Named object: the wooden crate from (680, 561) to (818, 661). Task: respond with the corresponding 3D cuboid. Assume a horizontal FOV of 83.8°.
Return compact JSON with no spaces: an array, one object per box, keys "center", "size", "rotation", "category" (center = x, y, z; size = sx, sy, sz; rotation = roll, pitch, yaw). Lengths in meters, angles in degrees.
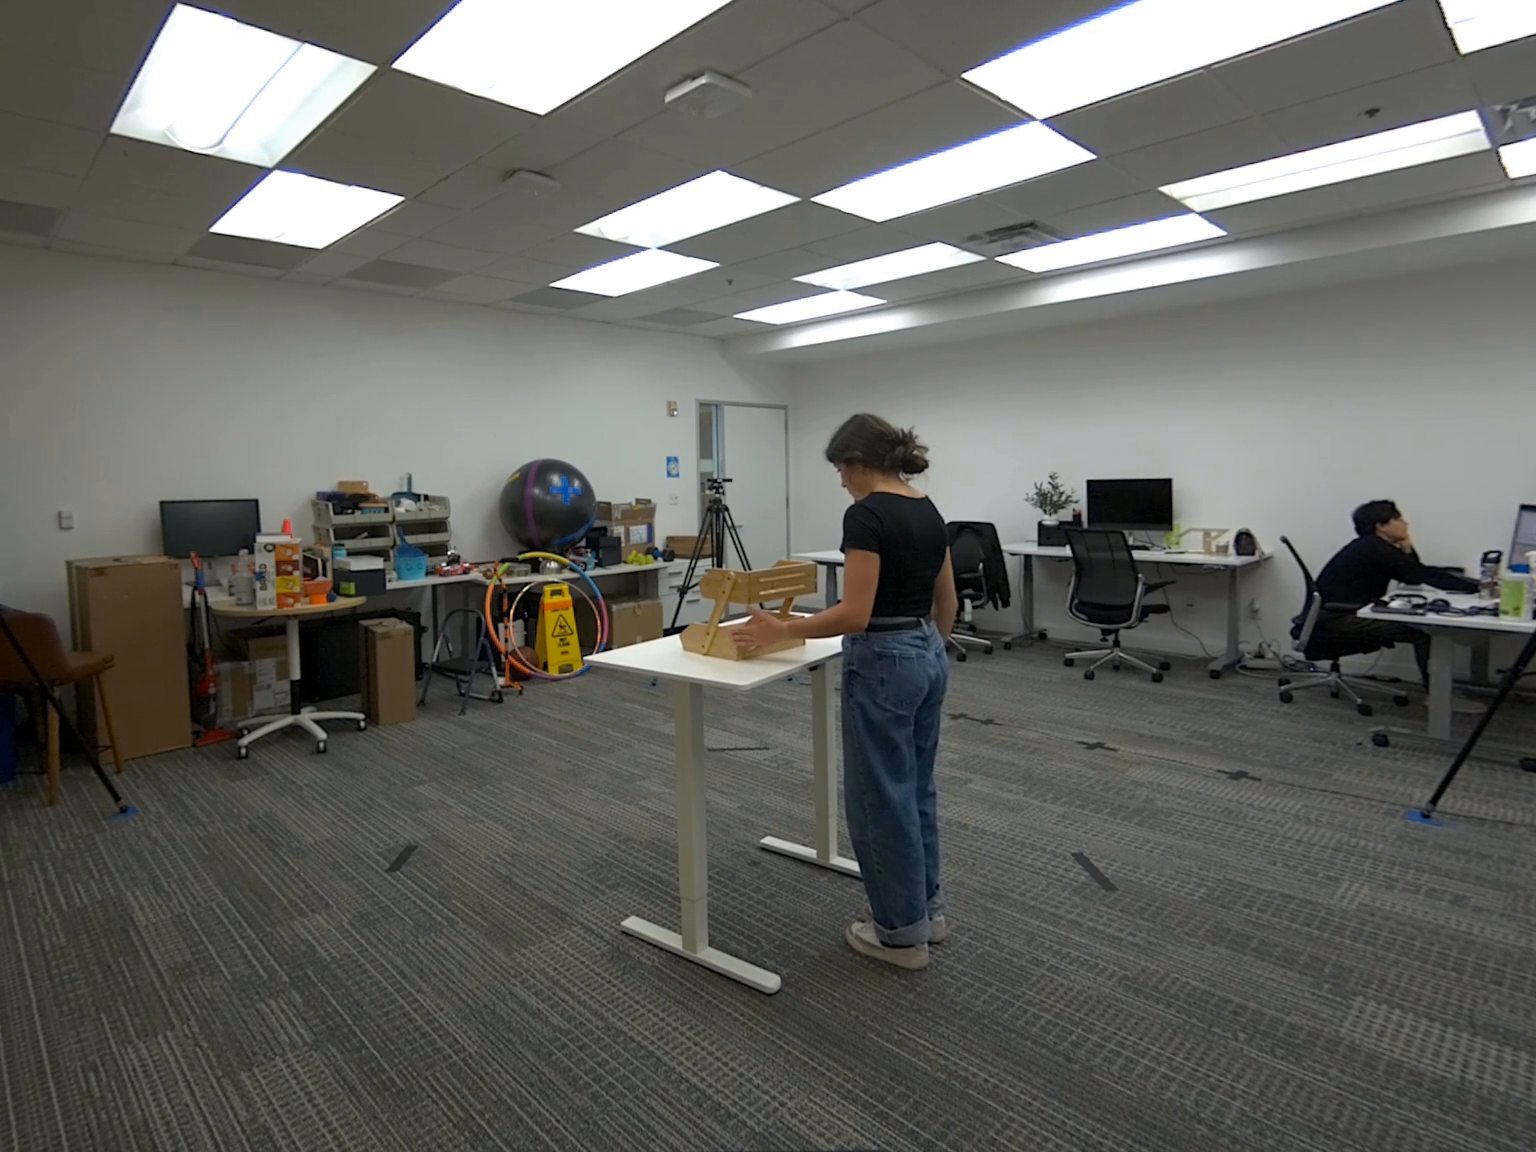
[{"center":[-0.058,0.091,2.596],"size":[0.311,0.272,0.316],"rotation":[5,9,44],"category":"wooden crate"}]
